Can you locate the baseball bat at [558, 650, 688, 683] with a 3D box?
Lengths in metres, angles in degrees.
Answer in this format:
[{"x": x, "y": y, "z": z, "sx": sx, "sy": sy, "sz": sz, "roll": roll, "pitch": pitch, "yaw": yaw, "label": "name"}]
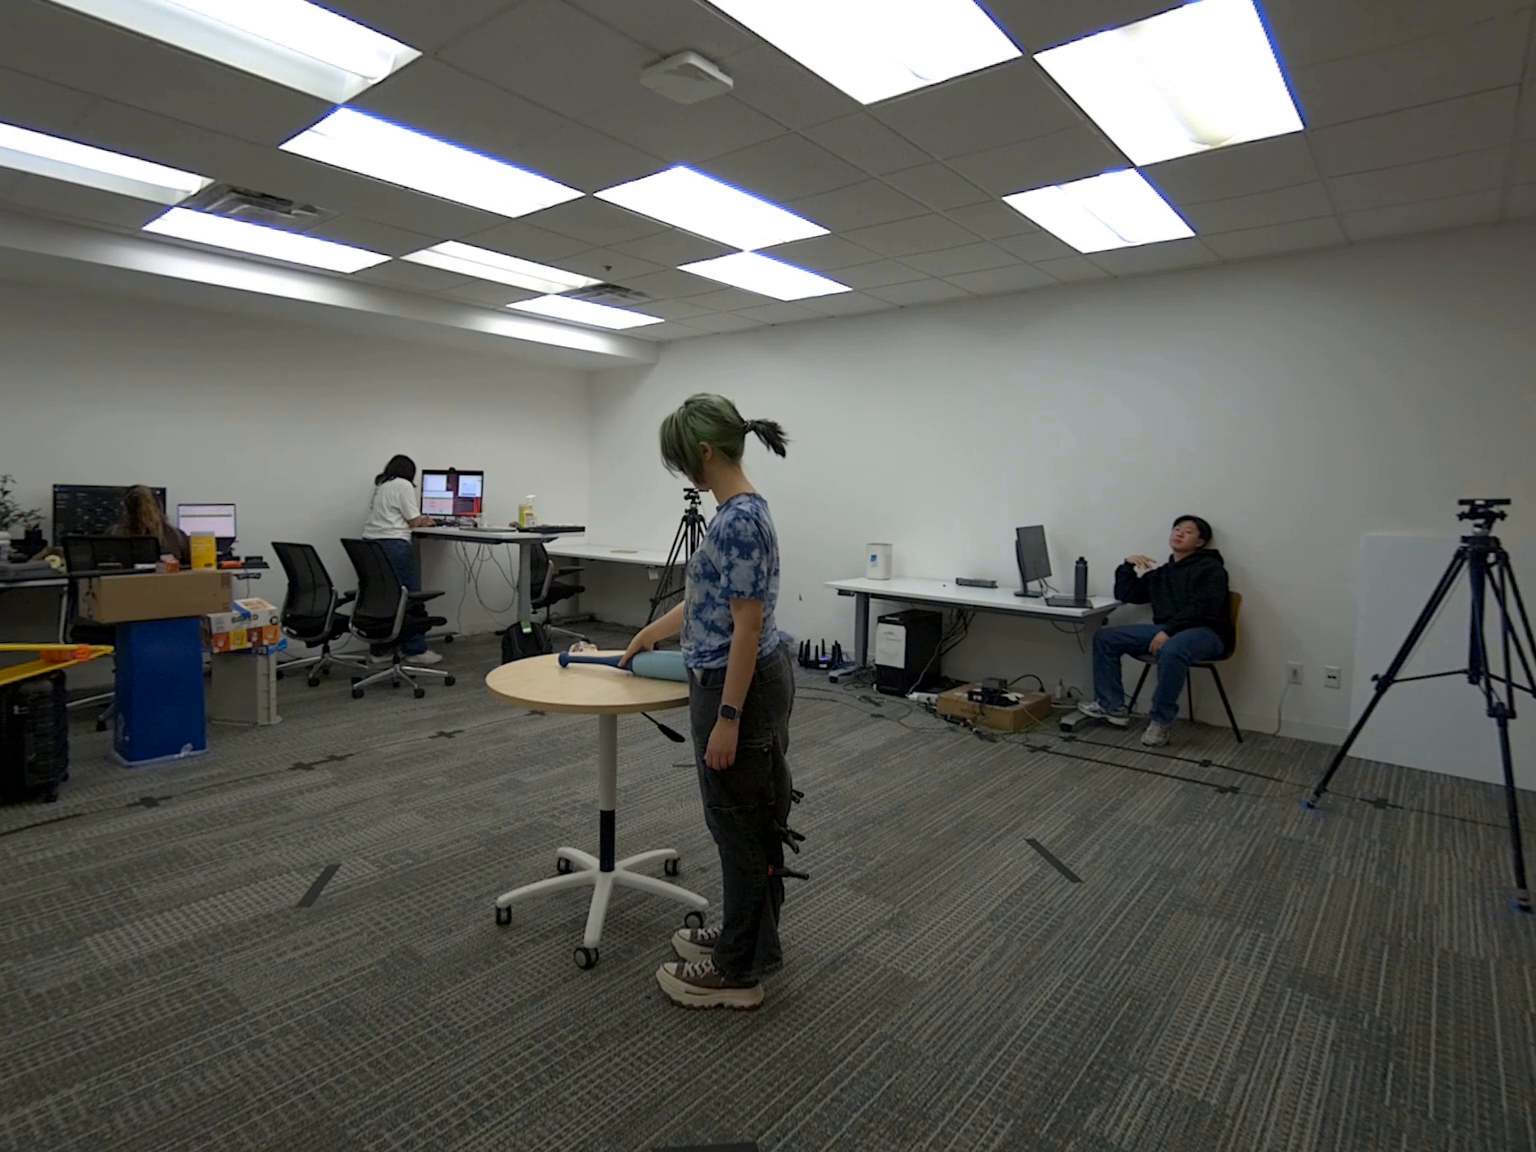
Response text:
[{"x": -0.455, "y": 0.286, "z": 2.736, "sx": 0.555, "sy": 0.089, "sz": 0.087, "roll": -1, "pitch": 3, "yaw": 21, "label": "baseball bat"}]
